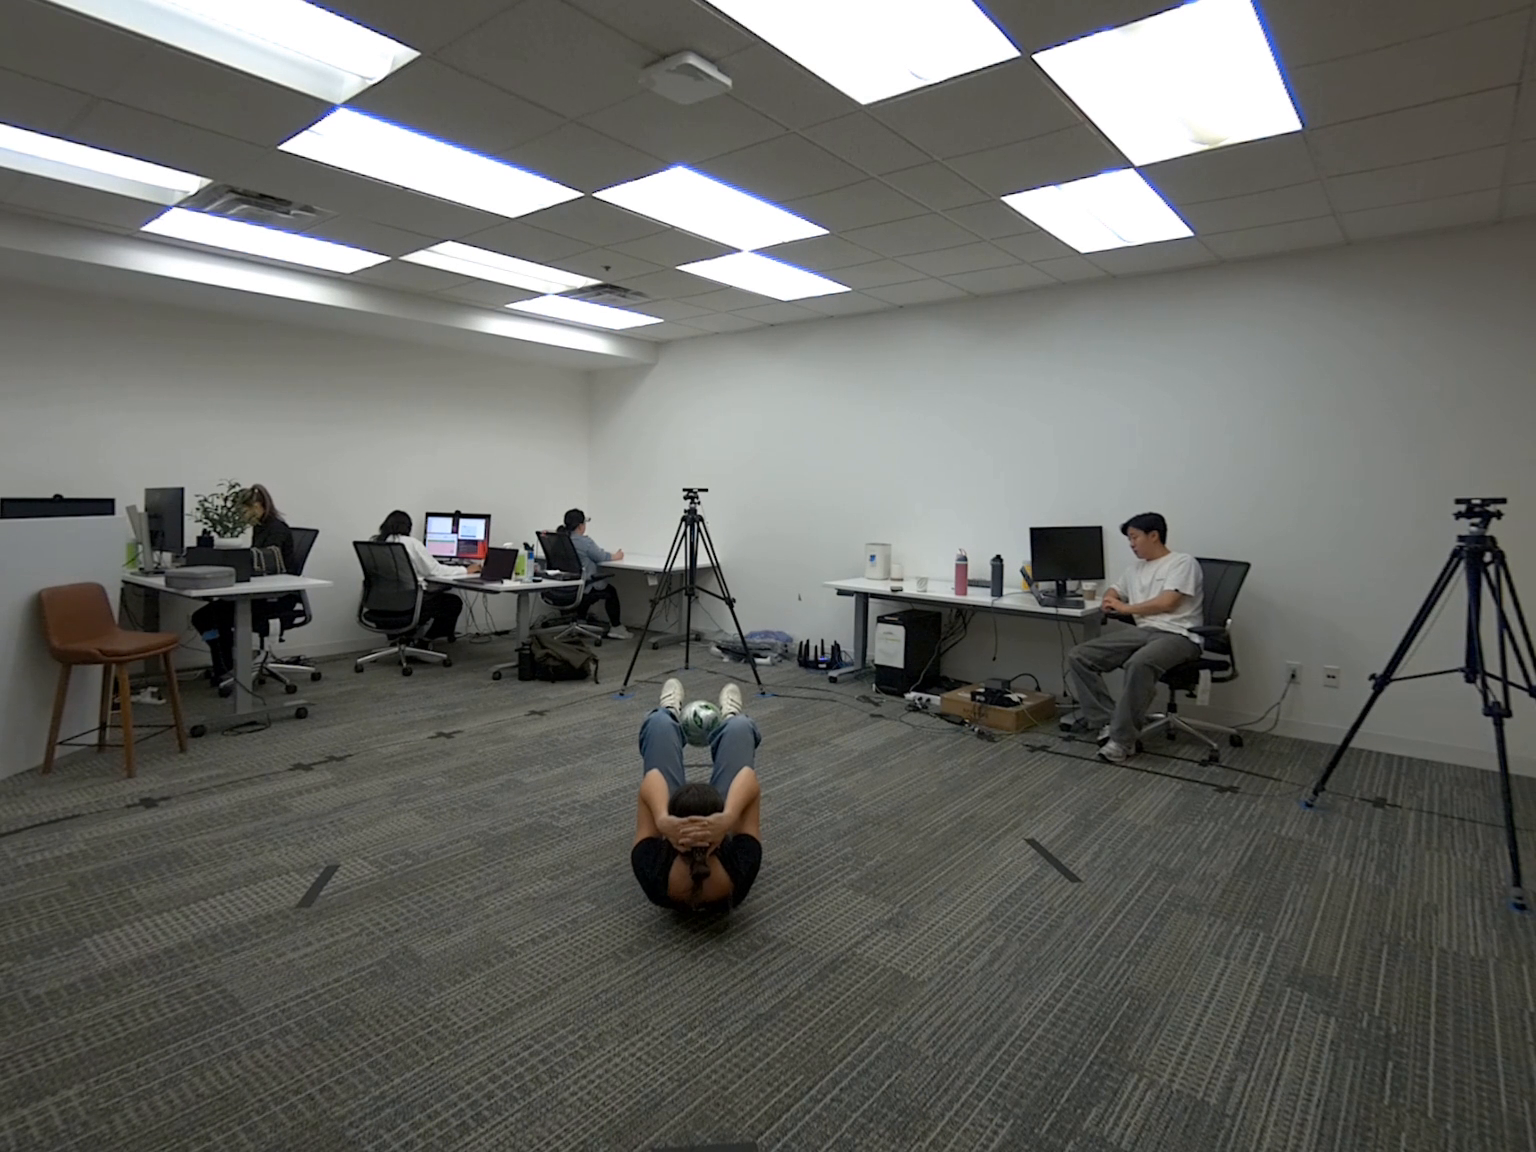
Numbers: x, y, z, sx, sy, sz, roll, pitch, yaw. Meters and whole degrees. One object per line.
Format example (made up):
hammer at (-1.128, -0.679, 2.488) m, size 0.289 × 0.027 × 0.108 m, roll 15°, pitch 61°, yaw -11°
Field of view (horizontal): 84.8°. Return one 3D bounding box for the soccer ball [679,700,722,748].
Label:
soccer ball at (-0.278, 0.591, 3.476) m, size 0.187 × 0.187 × 0.188 m, roll -3°, pitch 4°, yaw -2°
